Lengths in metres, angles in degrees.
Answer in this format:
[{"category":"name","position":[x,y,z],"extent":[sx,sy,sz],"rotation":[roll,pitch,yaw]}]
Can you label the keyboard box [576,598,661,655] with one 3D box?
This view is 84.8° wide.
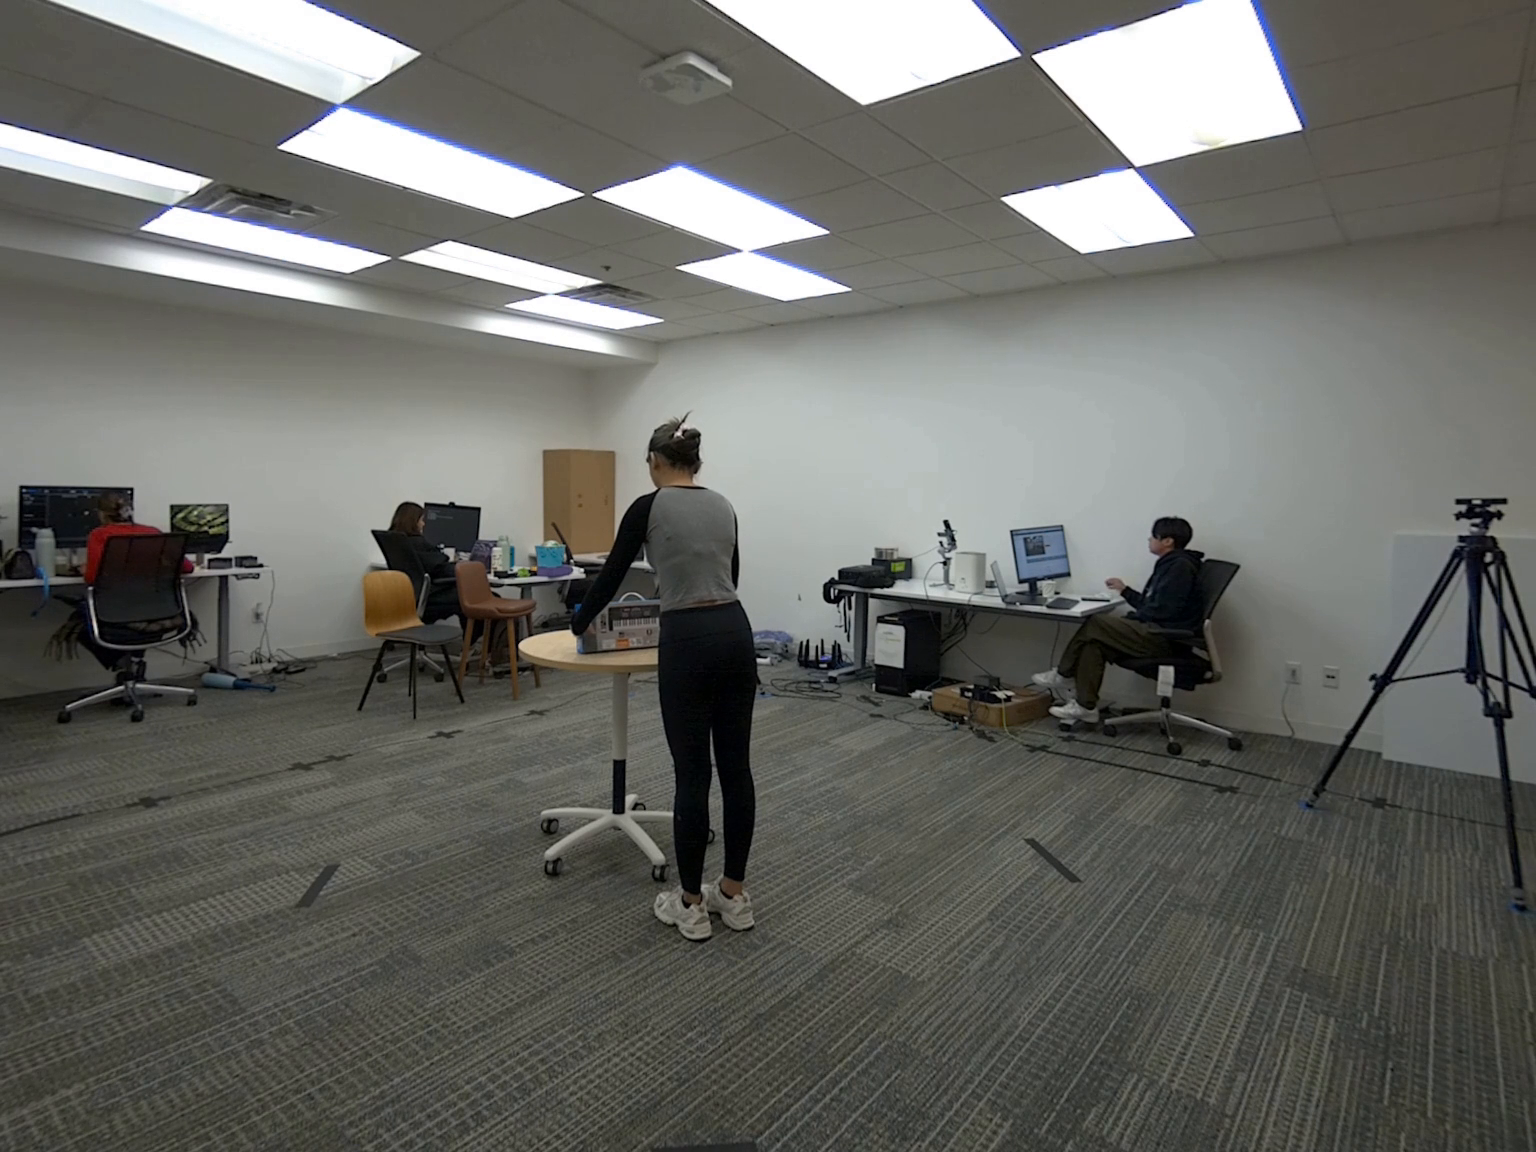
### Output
[{"category":"keyboard box","position":[-0.506,0.180,3.157],"extent":[0.424,0.176,0.061],"rotation":[-3,1,-34]}]
